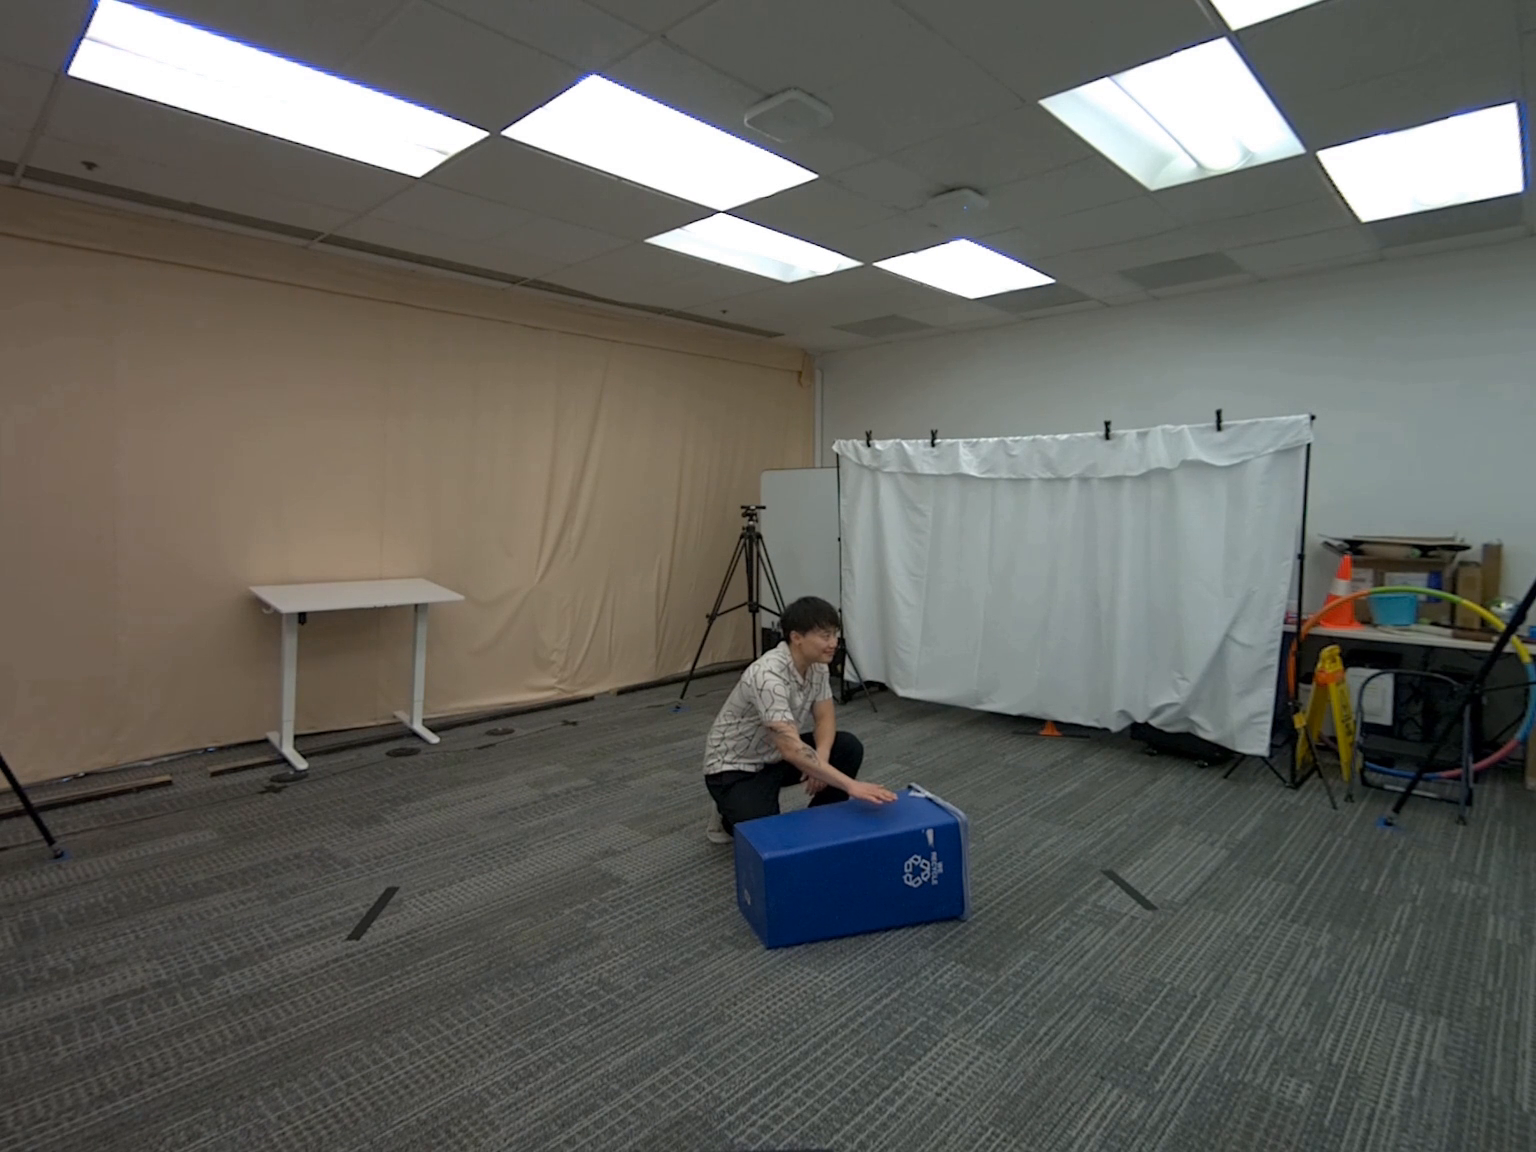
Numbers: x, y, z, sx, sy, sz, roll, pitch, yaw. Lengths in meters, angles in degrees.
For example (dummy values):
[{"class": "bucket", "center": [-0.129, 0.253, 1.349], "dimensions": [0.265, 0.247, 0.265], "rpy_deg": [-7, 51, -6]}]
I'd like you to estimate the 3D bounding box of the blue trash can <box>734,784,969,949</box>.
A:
[{"class": "blue trash can", "center": [0.277, 0.981, 2.869], "dimensions": [0.702, 0.373, 0.385], "rpy_deg": [-5, 4, -17]}]
